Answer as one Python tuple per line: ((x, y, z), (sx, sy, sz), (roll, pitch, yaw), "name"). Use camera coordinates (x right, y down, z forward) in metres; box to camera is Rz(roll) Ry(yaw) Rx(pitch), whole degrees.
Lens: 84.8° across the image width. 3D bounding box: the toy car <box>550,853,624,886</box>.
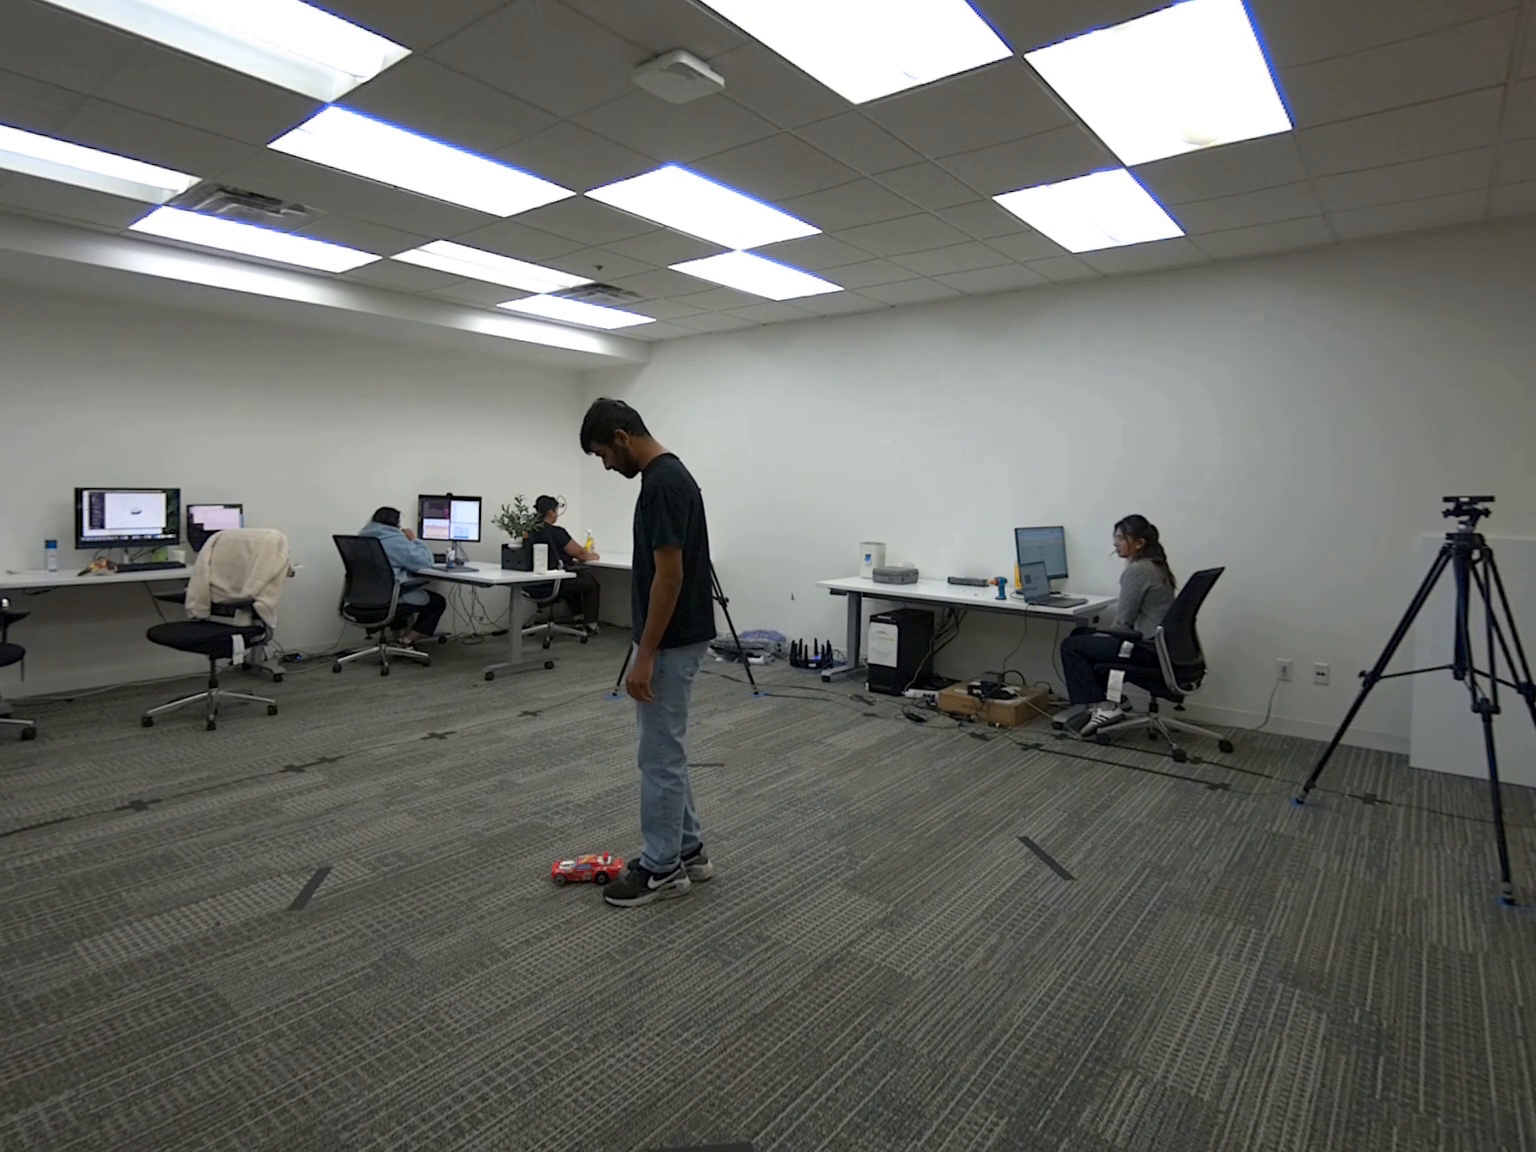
((-0.649, 1.037, 3.020), (0.253, 0.083, 0.131), (-11, 6, -6), "toy car")
